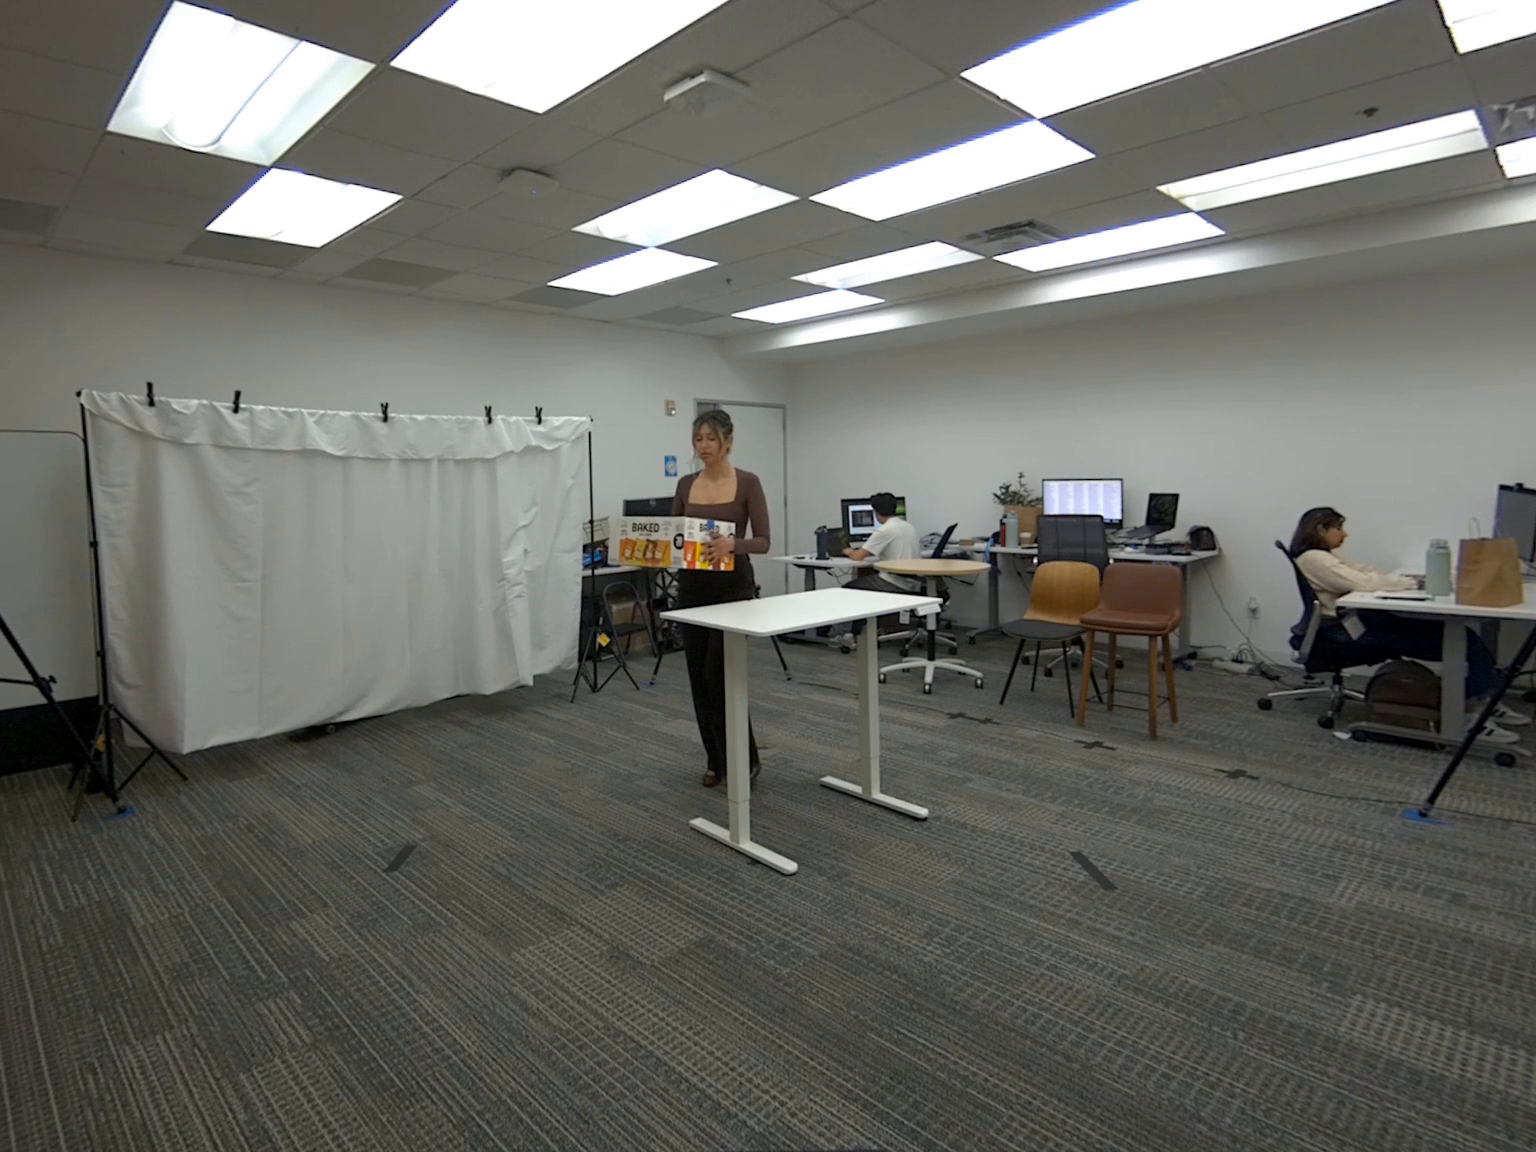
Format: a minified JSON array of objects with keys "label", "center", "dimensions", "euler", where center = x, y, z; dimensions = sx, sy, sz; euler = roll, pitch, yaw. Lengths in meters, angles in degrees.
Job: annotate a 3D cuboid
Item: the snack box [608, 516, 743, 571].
[{"label":"snack box","center":[-0.402,-0.133,3.596],"dimensions":[0.417,0.206,0.330],"euler":[3,-1,36]}]
